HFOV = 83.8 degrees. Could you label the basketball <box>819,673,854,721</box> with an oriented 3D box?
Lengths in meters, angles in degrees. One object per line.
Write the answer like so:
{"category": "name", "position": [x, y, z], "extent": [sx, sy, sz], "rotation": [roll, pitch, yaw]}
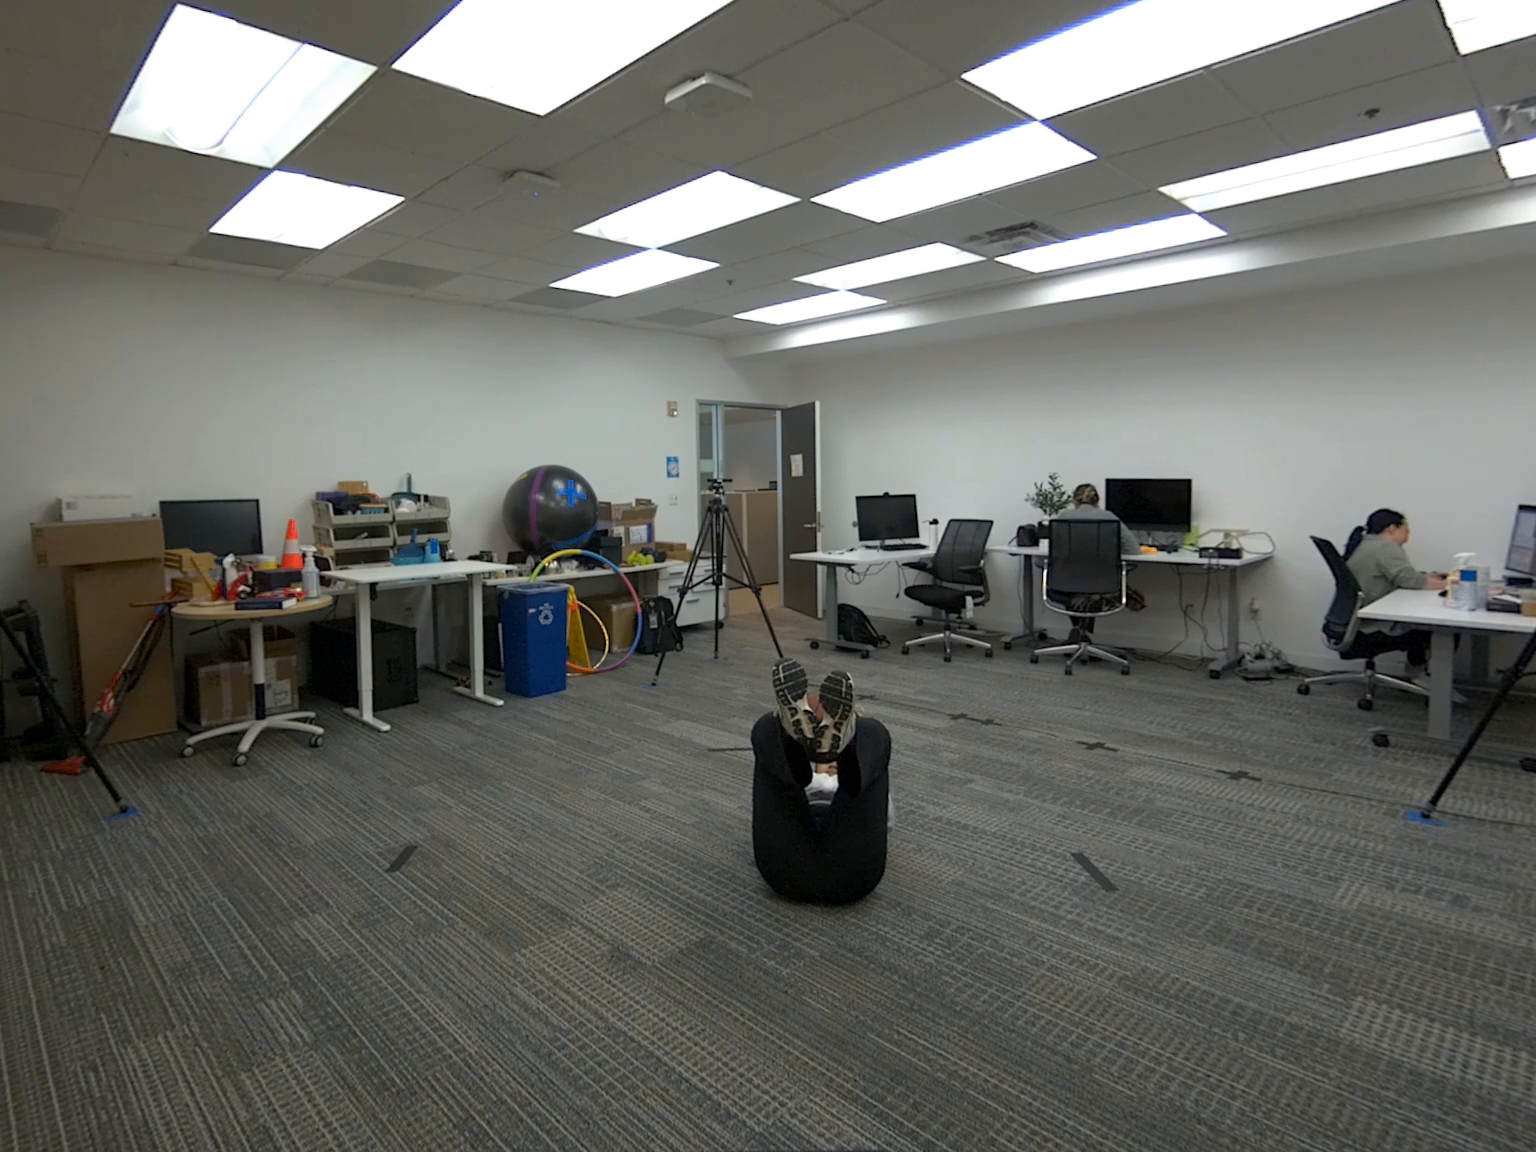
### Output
{"category": "basketball", "position": [0.181, 0.495, 2.845], "extent": [0.236, 0.235, 0.237], "rotation": [-1, 4, -2]}
